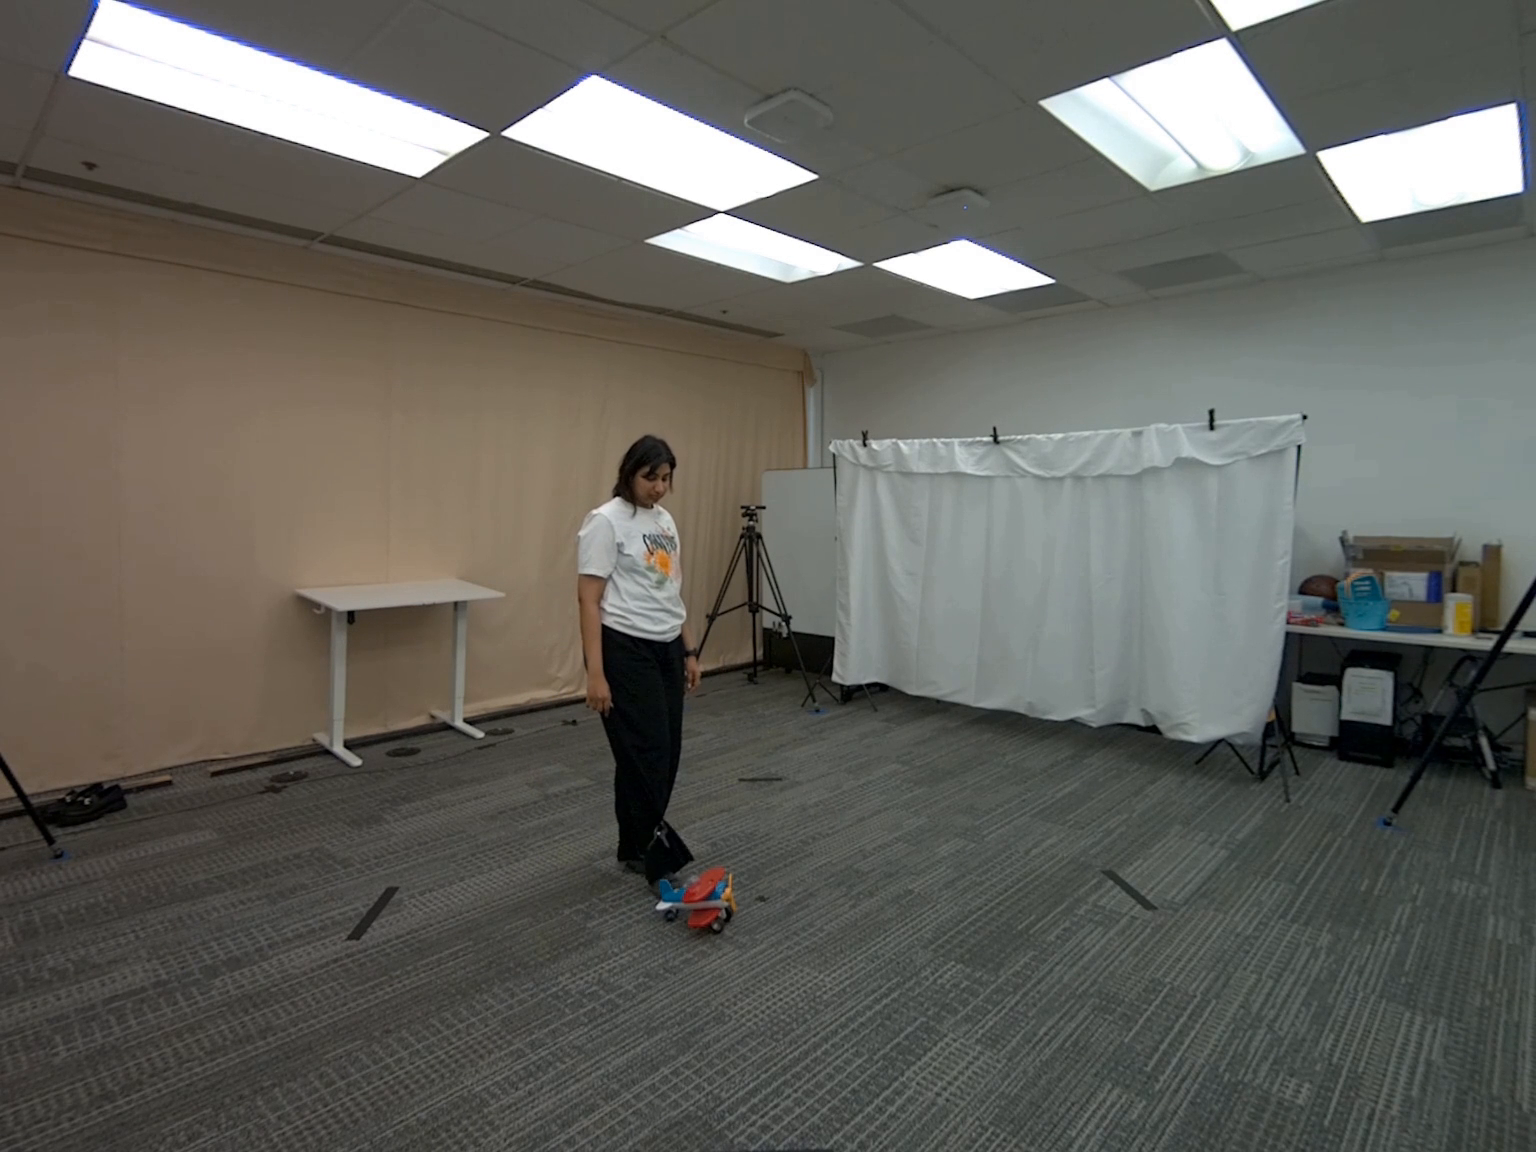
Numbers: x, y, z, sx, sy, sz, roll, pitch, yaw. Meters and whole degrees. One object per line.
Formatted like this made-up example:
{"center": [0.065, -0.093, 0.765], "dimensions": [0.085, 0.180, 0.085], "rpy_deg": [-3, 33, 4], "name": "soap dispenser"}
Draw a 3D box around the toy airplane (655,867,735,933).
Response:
{"center": [-0.240, 1.085, 2.786], "dimensions": [0.257, 0.156, 0.254], "rpy_deg": [0, 5, -9], "name": "toy airplane"}
